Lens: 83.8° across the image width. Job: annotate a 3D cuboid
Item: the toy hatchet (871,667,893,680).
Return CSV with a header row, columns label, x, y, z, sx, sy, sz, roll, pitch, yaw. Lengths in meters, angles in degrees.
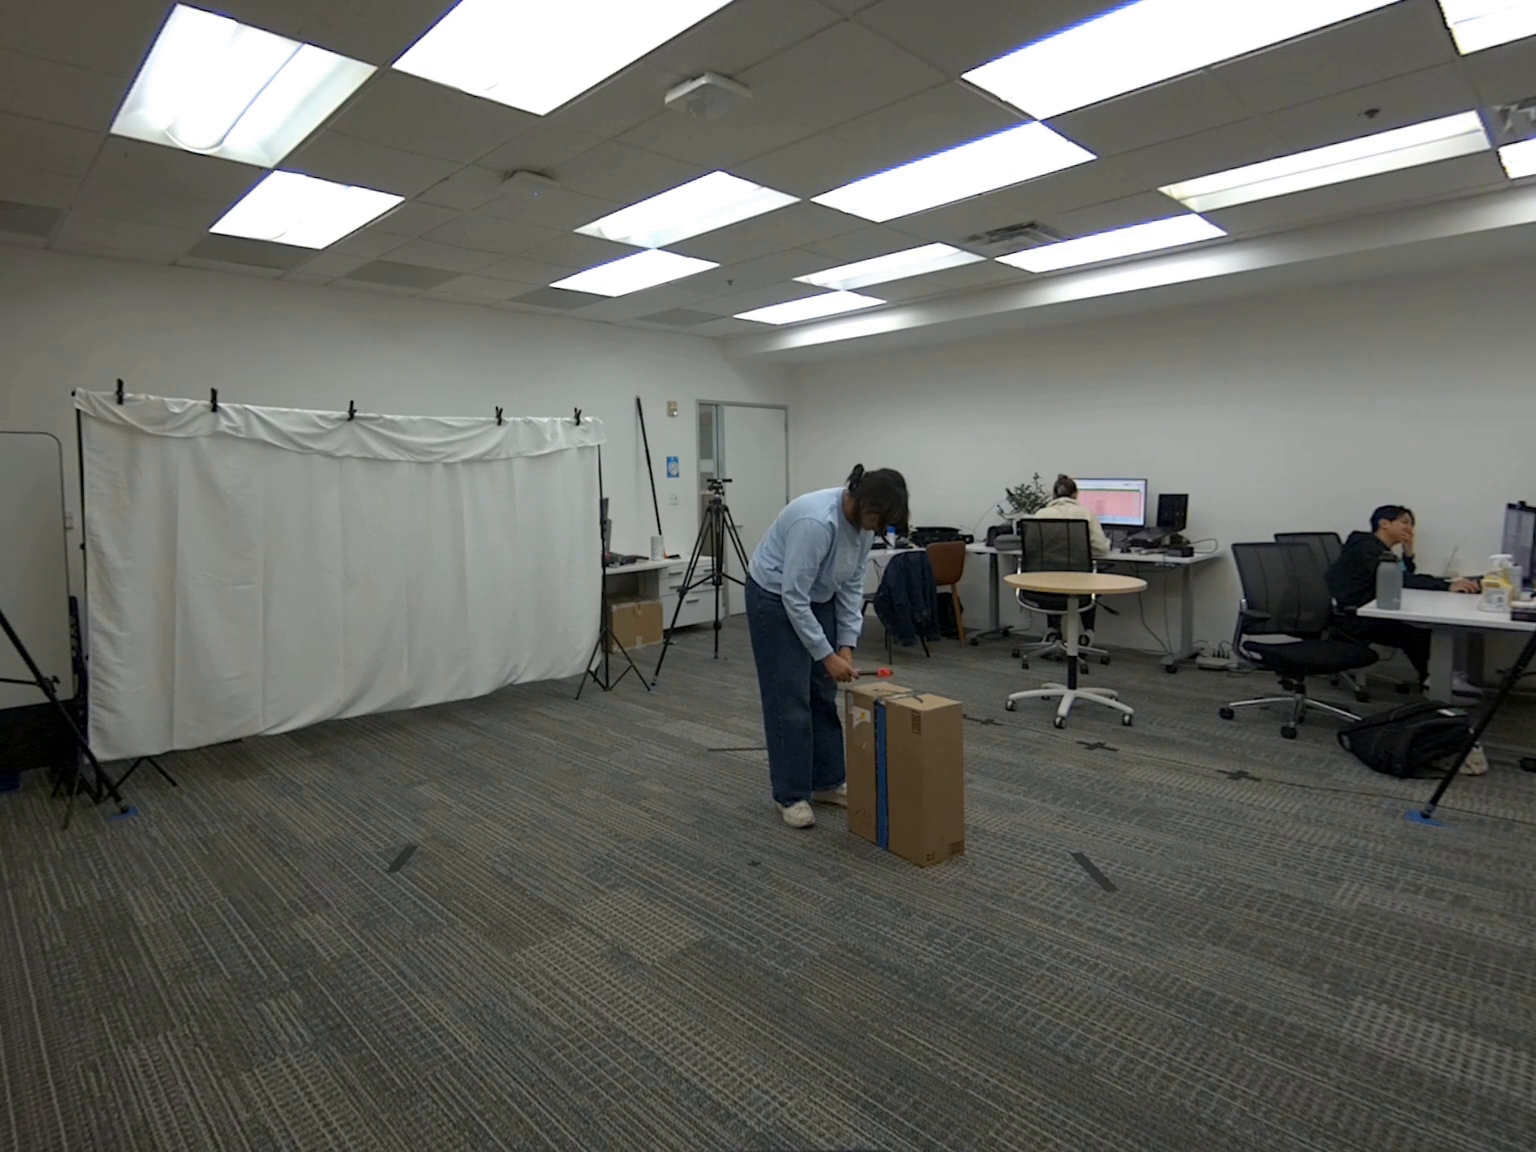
label,x,y,z,sx,sy,sz,roll,pitch,yaw
toy hatchet,0.362,0.391,3.314,0.276,0.030,0.126,-13,-19,40
